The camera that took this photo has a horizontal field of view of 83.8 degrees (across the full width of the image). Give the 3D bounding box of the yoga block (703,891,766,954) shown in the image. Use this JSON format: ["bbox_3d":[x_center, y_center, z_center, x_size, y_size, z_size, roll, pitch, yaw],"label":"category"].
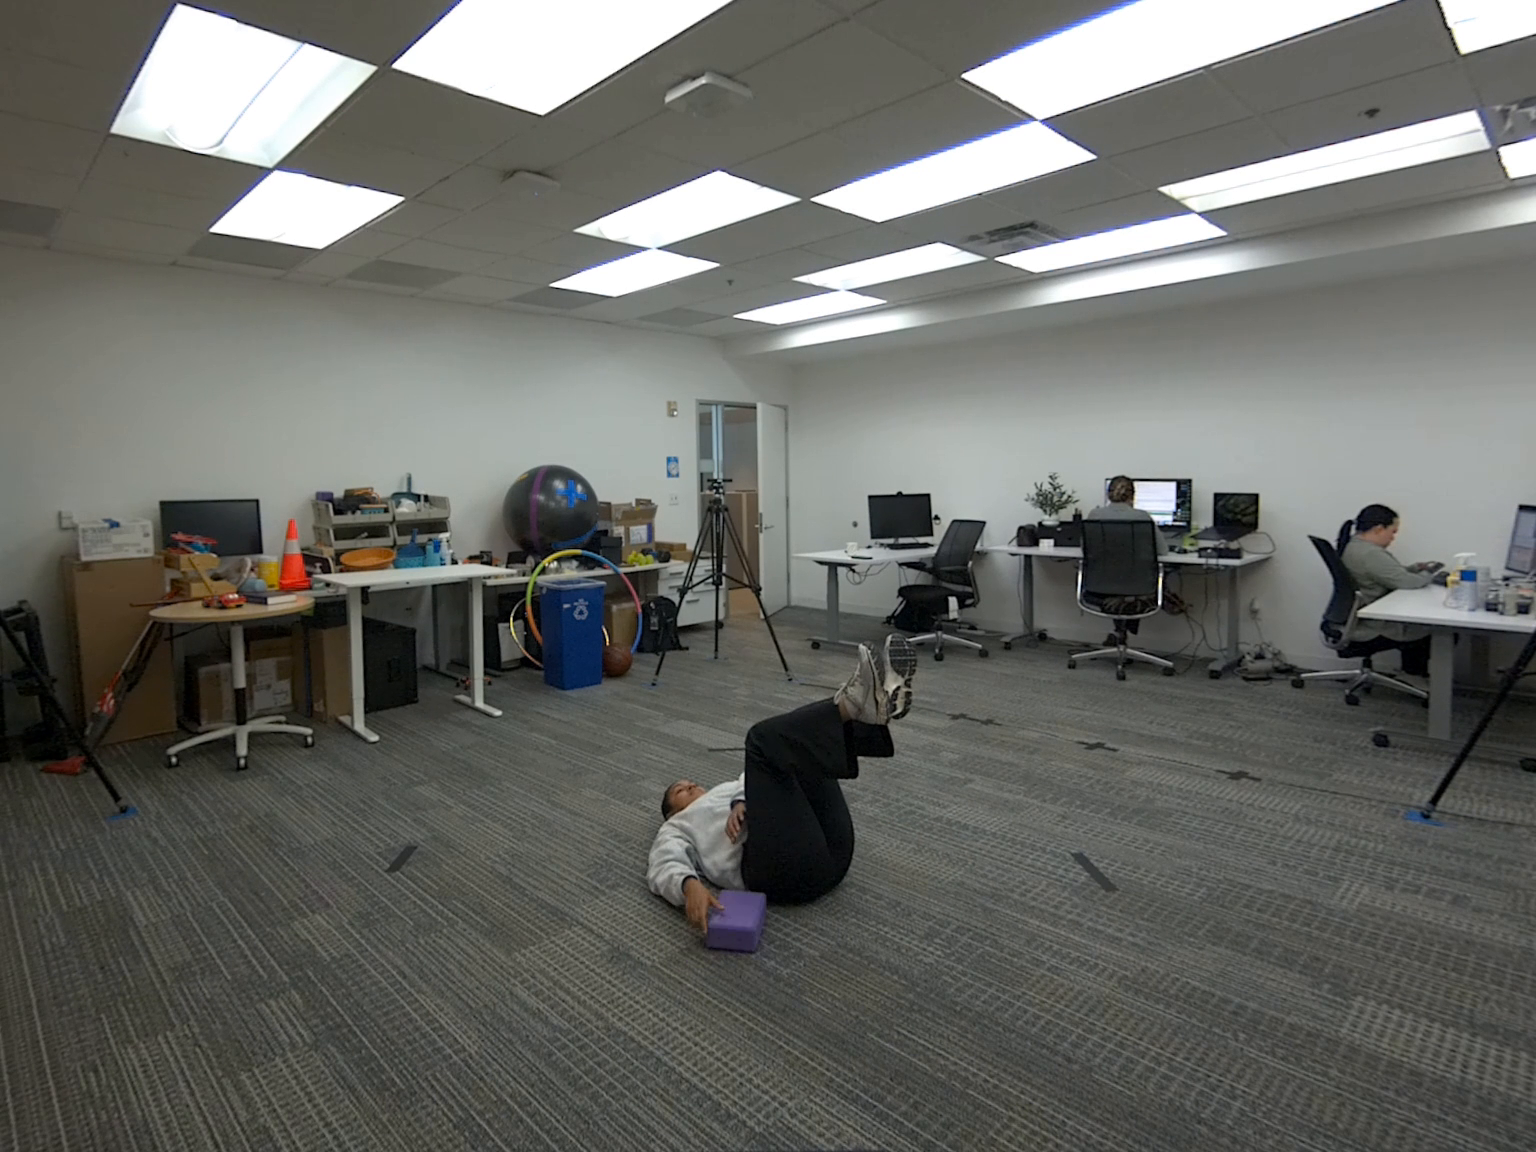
[{"bbox_3d":[-0.116,1.061,2.626,0.150,0.076,0.229,0,7,7],"label":"yoga block"}]
